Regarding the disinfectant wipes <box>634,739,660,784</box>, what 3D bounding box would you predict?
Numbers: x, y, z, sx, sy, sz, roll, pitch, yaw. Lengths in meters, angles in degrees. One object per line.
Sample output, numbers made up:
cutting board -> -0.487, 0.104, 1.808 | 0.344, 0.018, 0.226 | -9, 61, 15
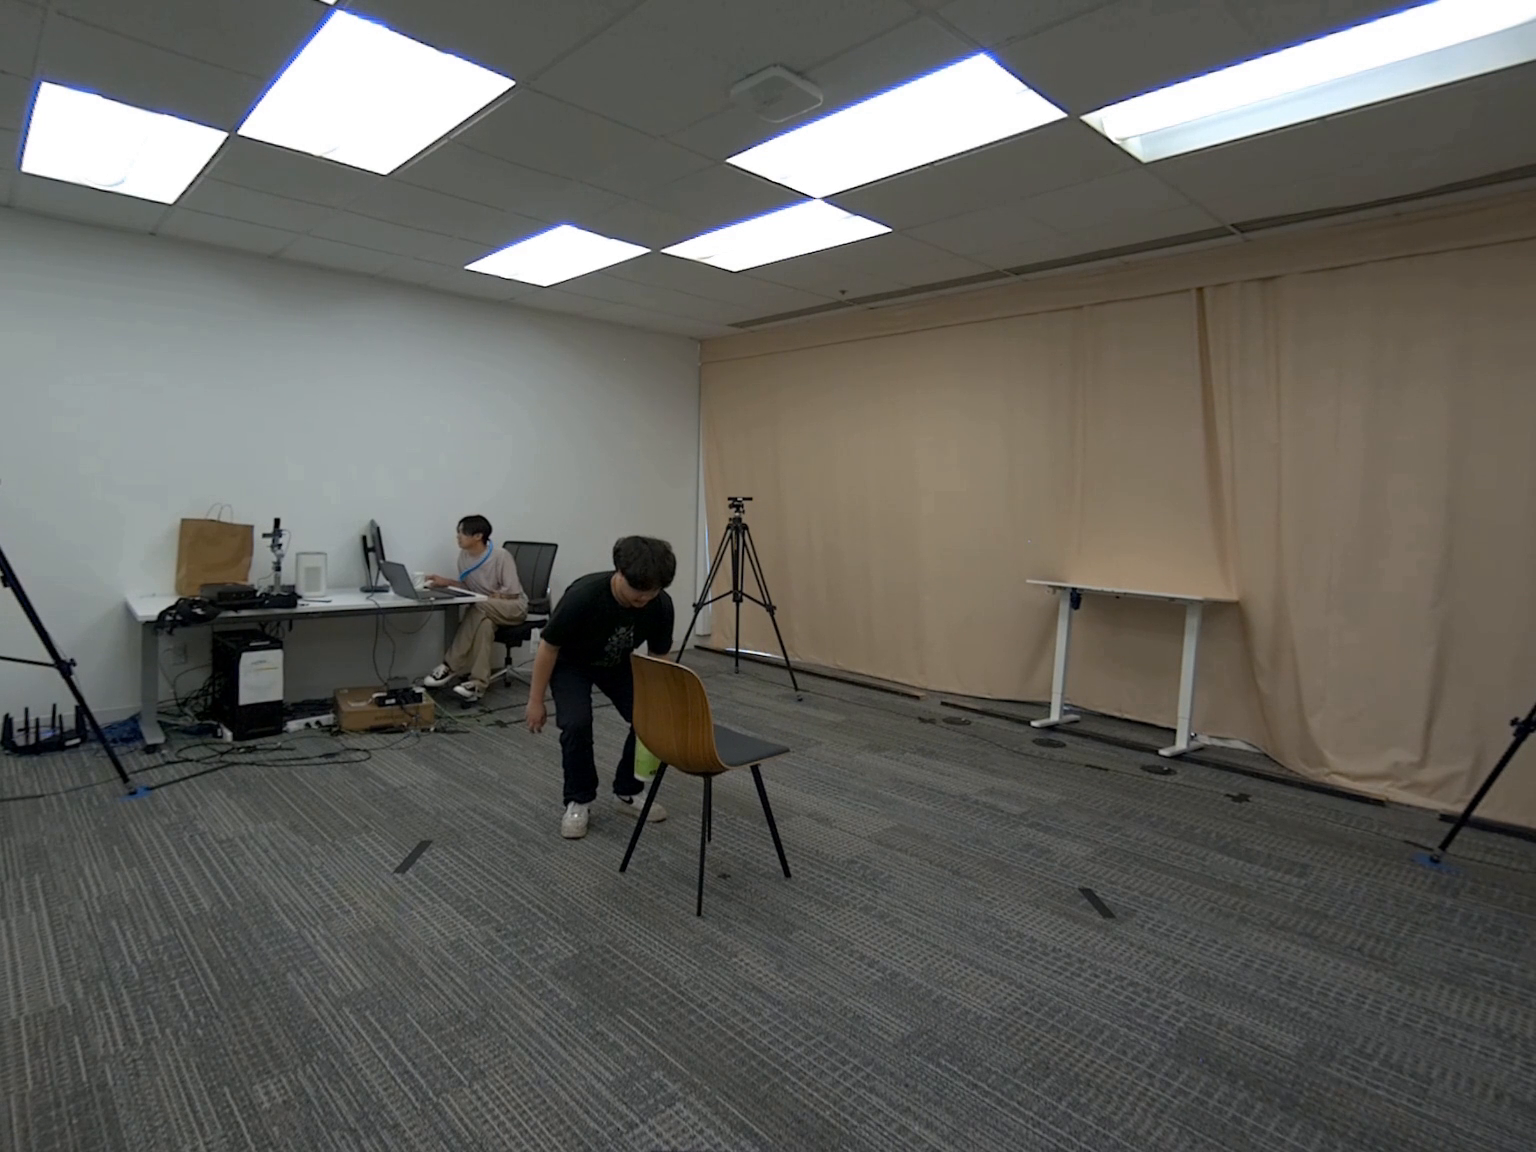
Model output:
disinfectant wipes -> -0.501, 0.720, 3.432 | 0.118, 0.216, 0.118 | 3, 6, -2
